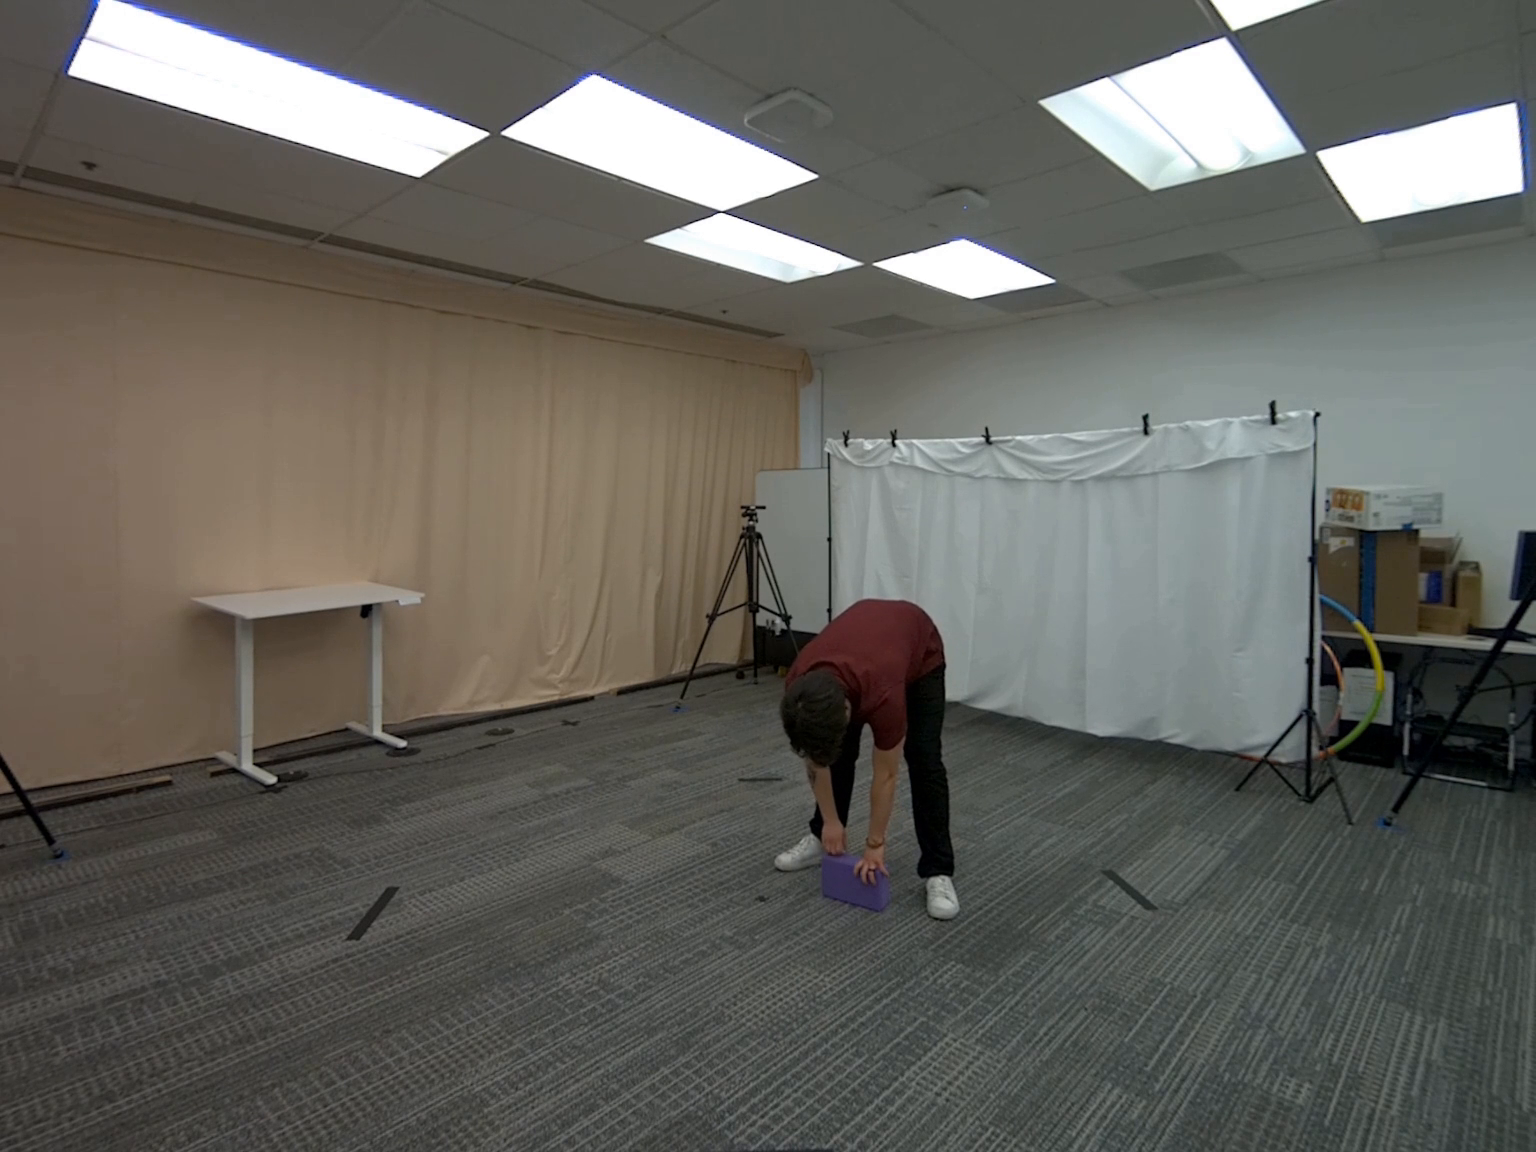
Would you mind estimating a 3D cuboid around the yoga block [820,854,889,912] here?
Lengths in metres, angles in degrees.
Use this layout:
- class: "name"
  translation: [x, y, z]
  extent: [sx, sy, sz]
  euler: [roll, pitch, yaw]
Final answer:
- class: "yoga block"
  translation: [0.314, 1.070, 2.973]
  extent: [0.236, 0.149, 0.074]
  euler: [1, 1, 35]
